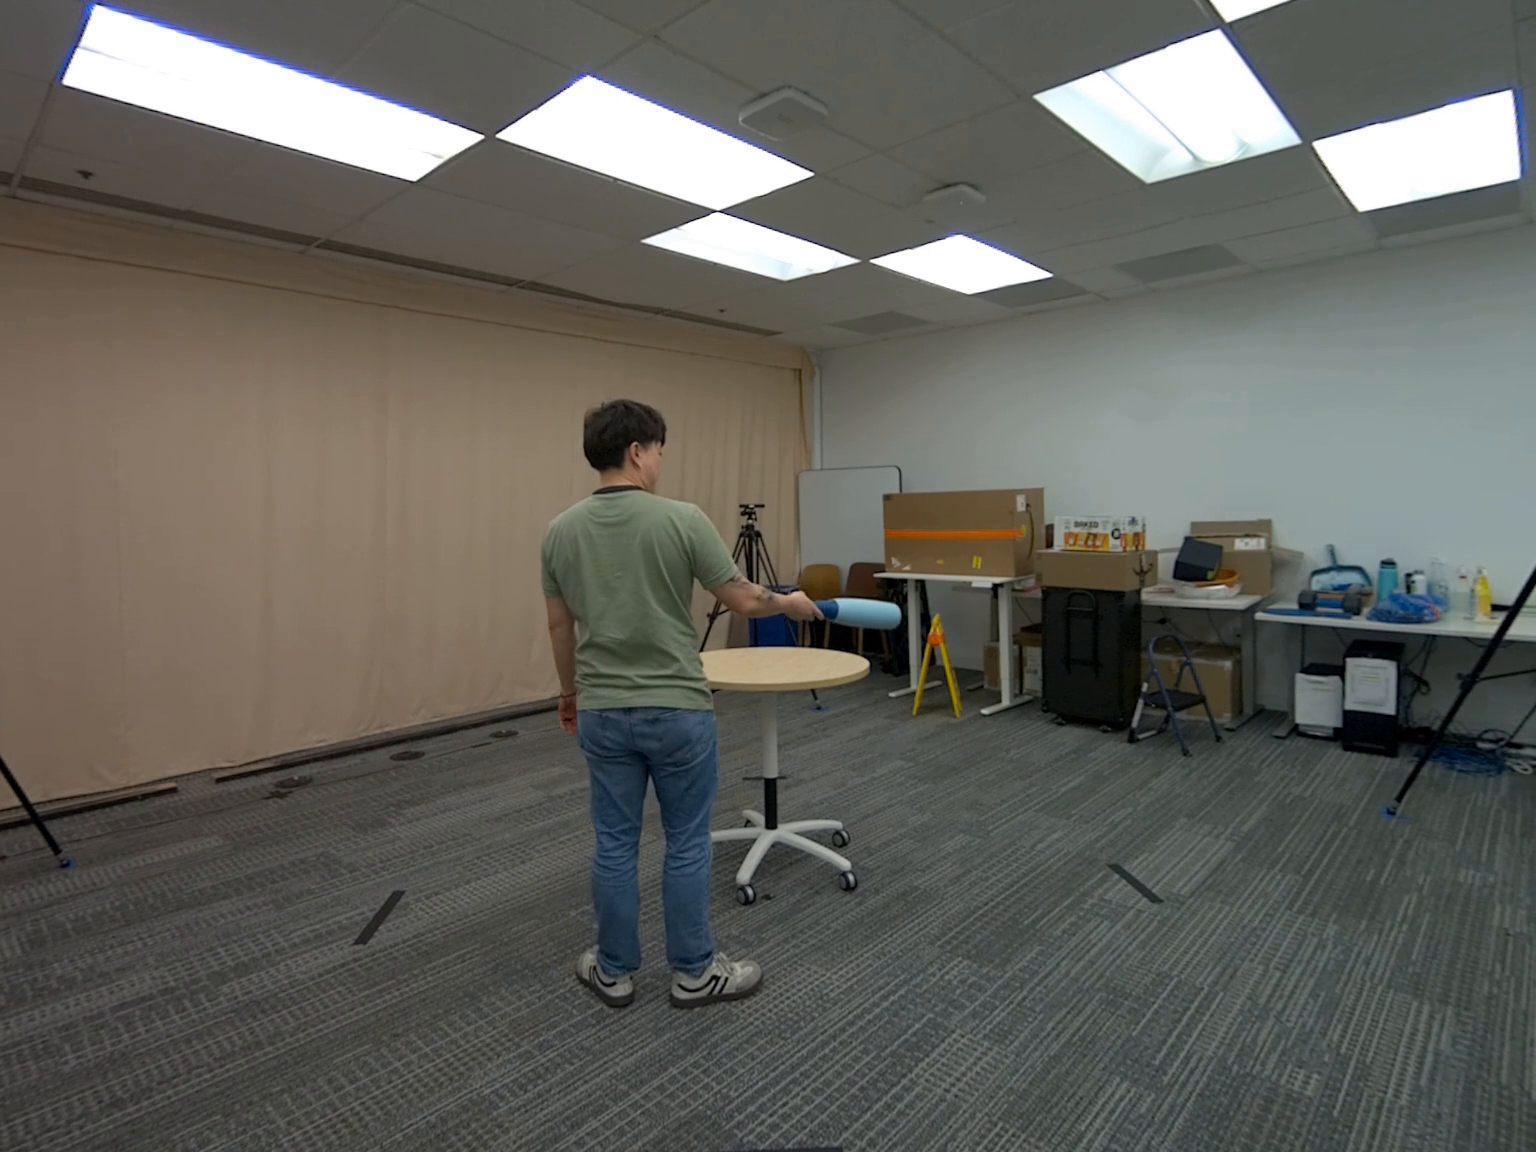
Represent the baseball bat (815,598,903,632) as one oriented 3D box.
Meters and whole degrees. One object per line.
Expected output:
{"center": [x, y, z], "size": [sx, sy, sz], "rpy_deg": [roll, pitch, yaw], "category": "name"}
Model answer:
{"center": [0.190, 0.097, 2.624], "size": [0.529, 0.089, 0.091], "rpy_deg": [6, 0, -25], "category": "baseball bat"}
